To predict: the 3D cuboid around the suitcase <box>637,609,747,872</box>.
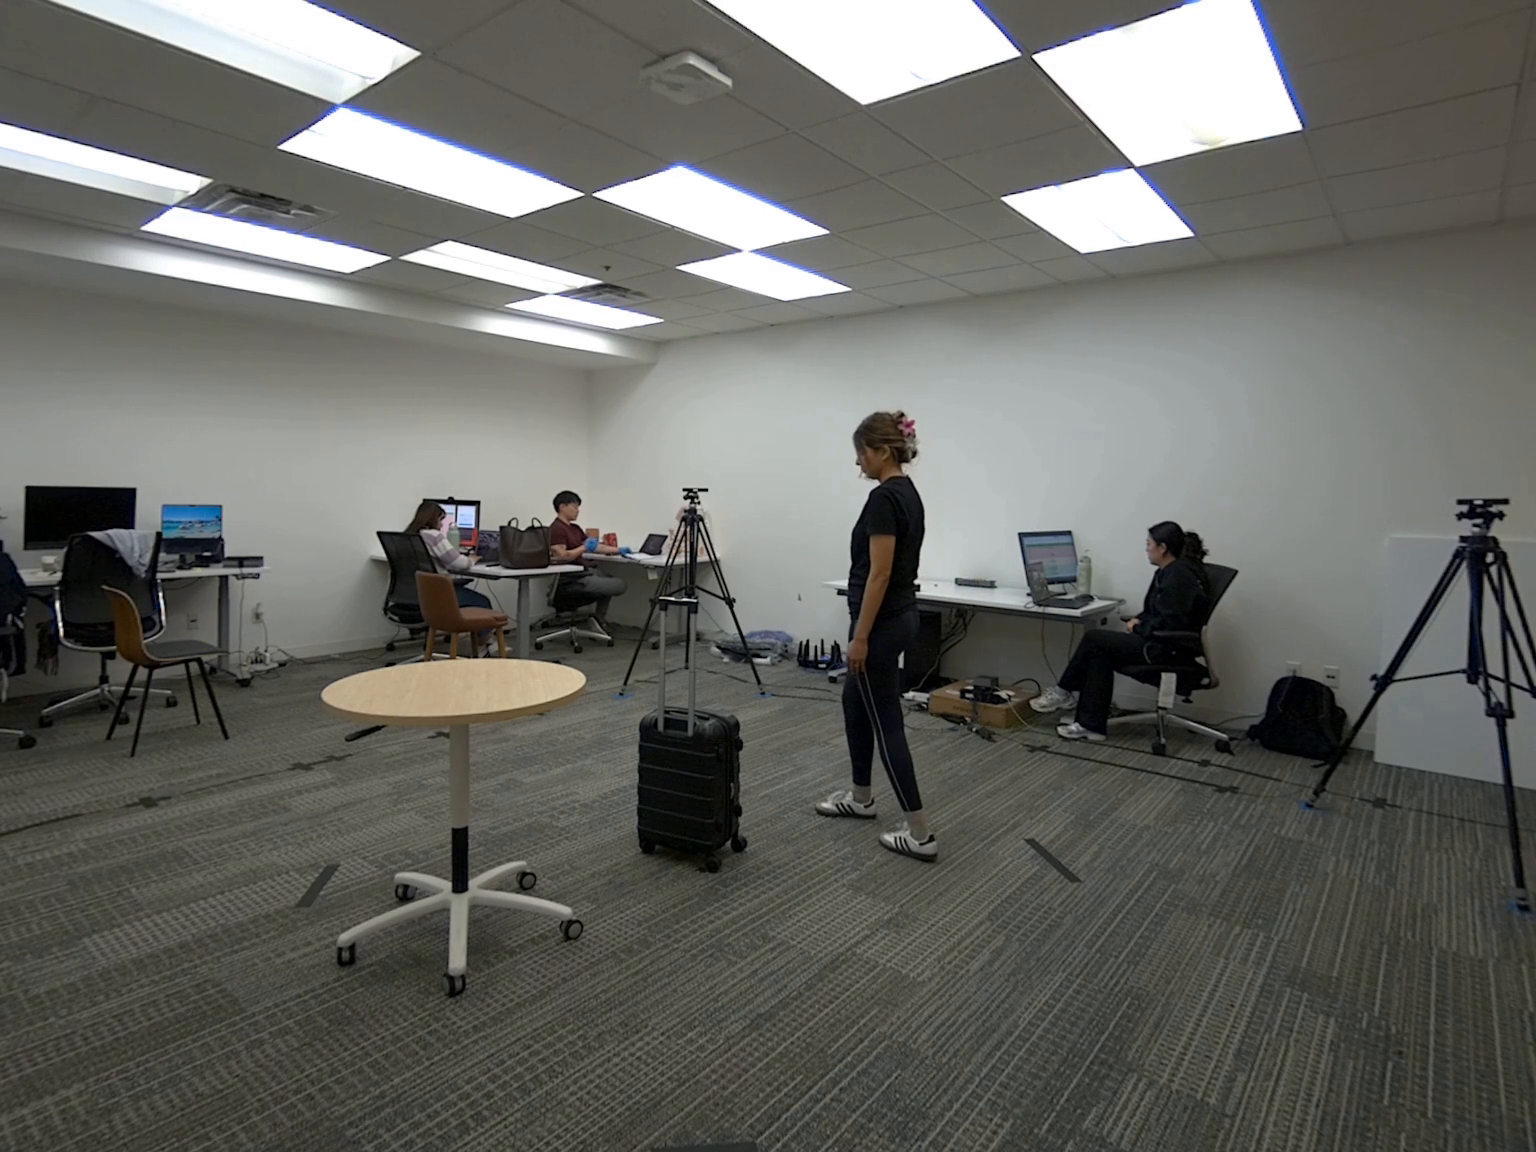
[{"bbox_3d":[-0.309,0.575,3.253,0.394,0.978,0.250,0,1,26],"label":"suitcase"}]
